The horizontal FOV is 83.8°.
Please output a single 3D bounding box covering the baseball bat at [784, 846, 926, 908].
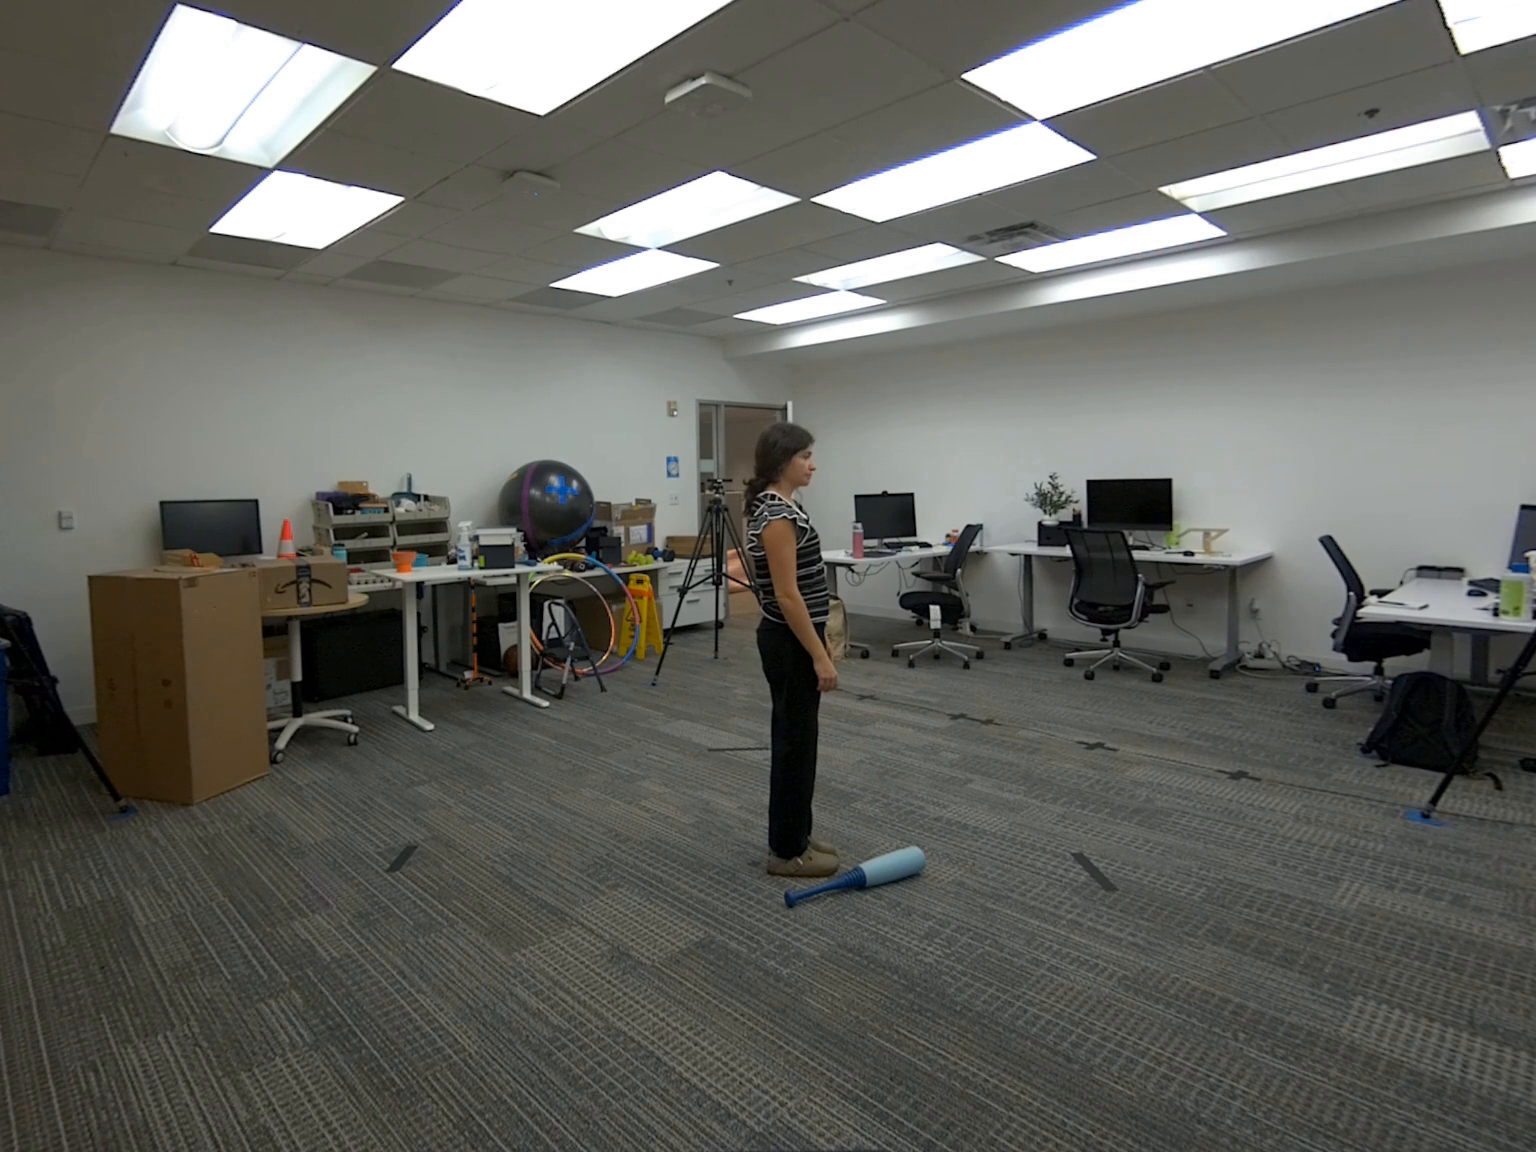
[{"bbox_3d":[0.306,1.028,2.895,0.532,0.088,0.091,-7,7,-25],"label":"baseball bat"}]
